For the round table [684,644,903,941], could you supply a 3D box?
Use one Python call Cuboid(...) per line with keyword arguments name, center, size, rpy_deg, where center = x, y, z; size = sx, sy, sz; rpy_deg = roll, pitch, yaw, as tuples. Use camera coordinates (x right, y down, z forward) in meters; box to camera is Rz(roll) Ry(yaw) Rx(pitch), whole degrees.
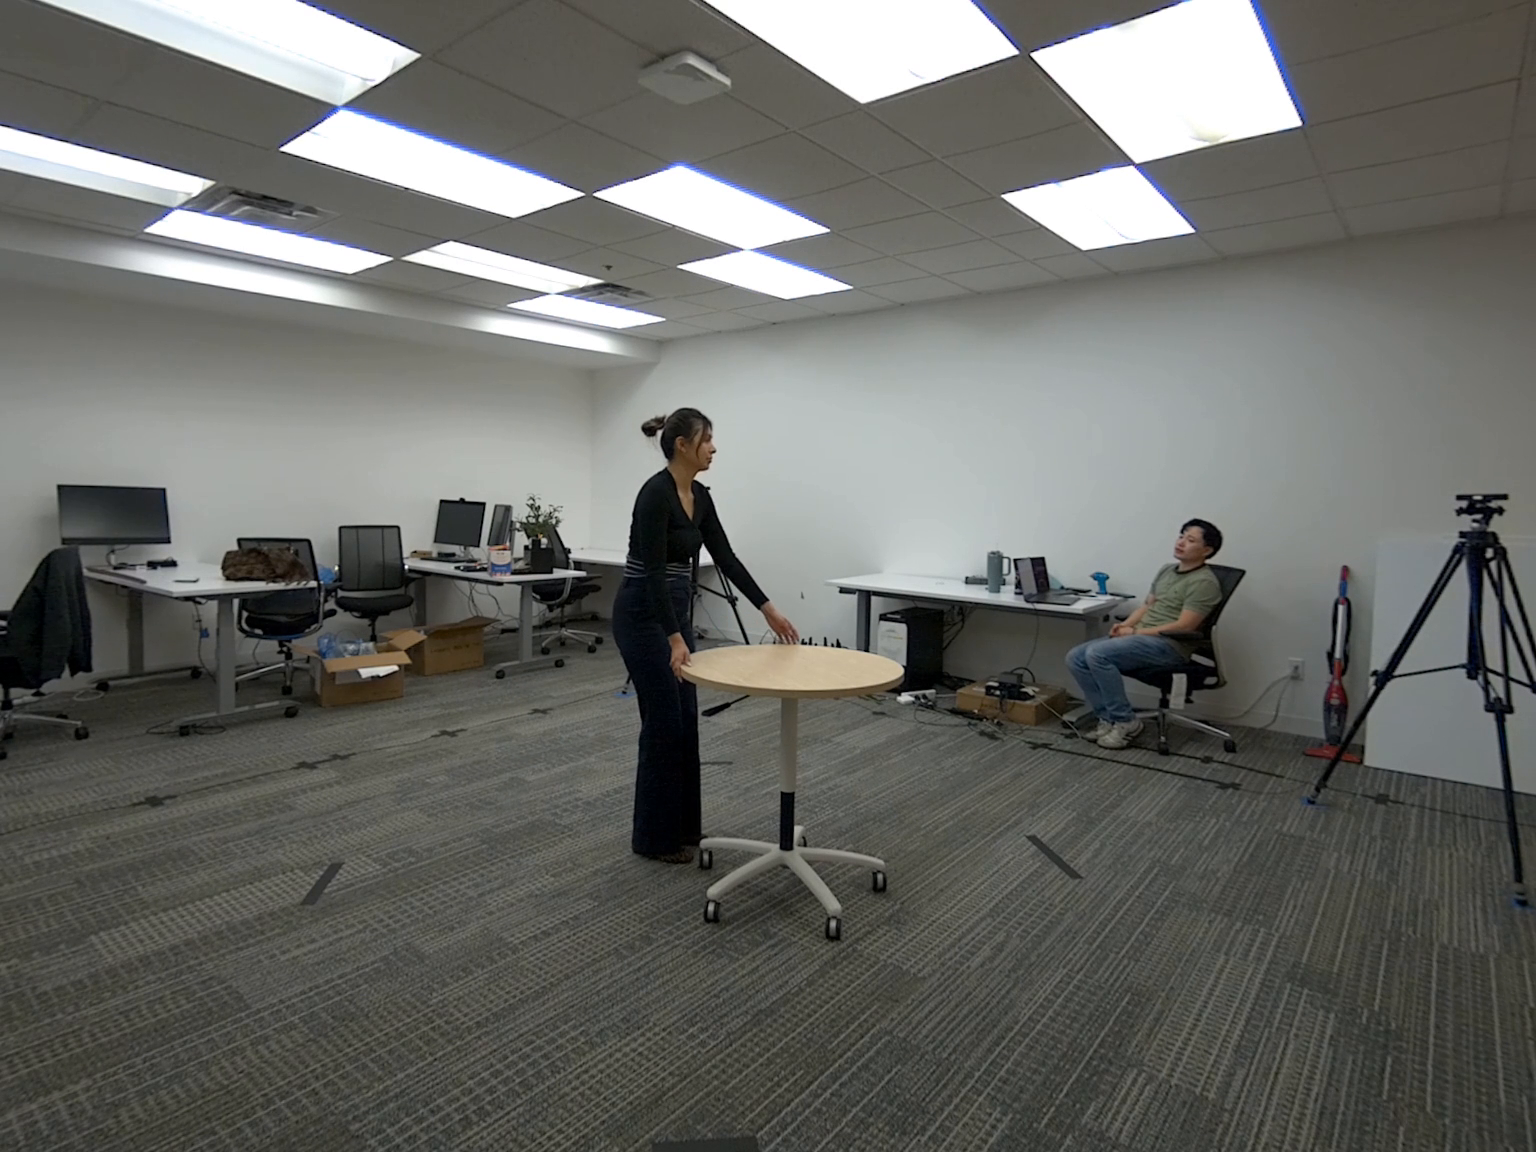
Cuboid(name="round table", center=(0.059, 0.695, 2.944), size=(0.763, 0.791, 0.768), rpy_deg=(1, 4, -2))
